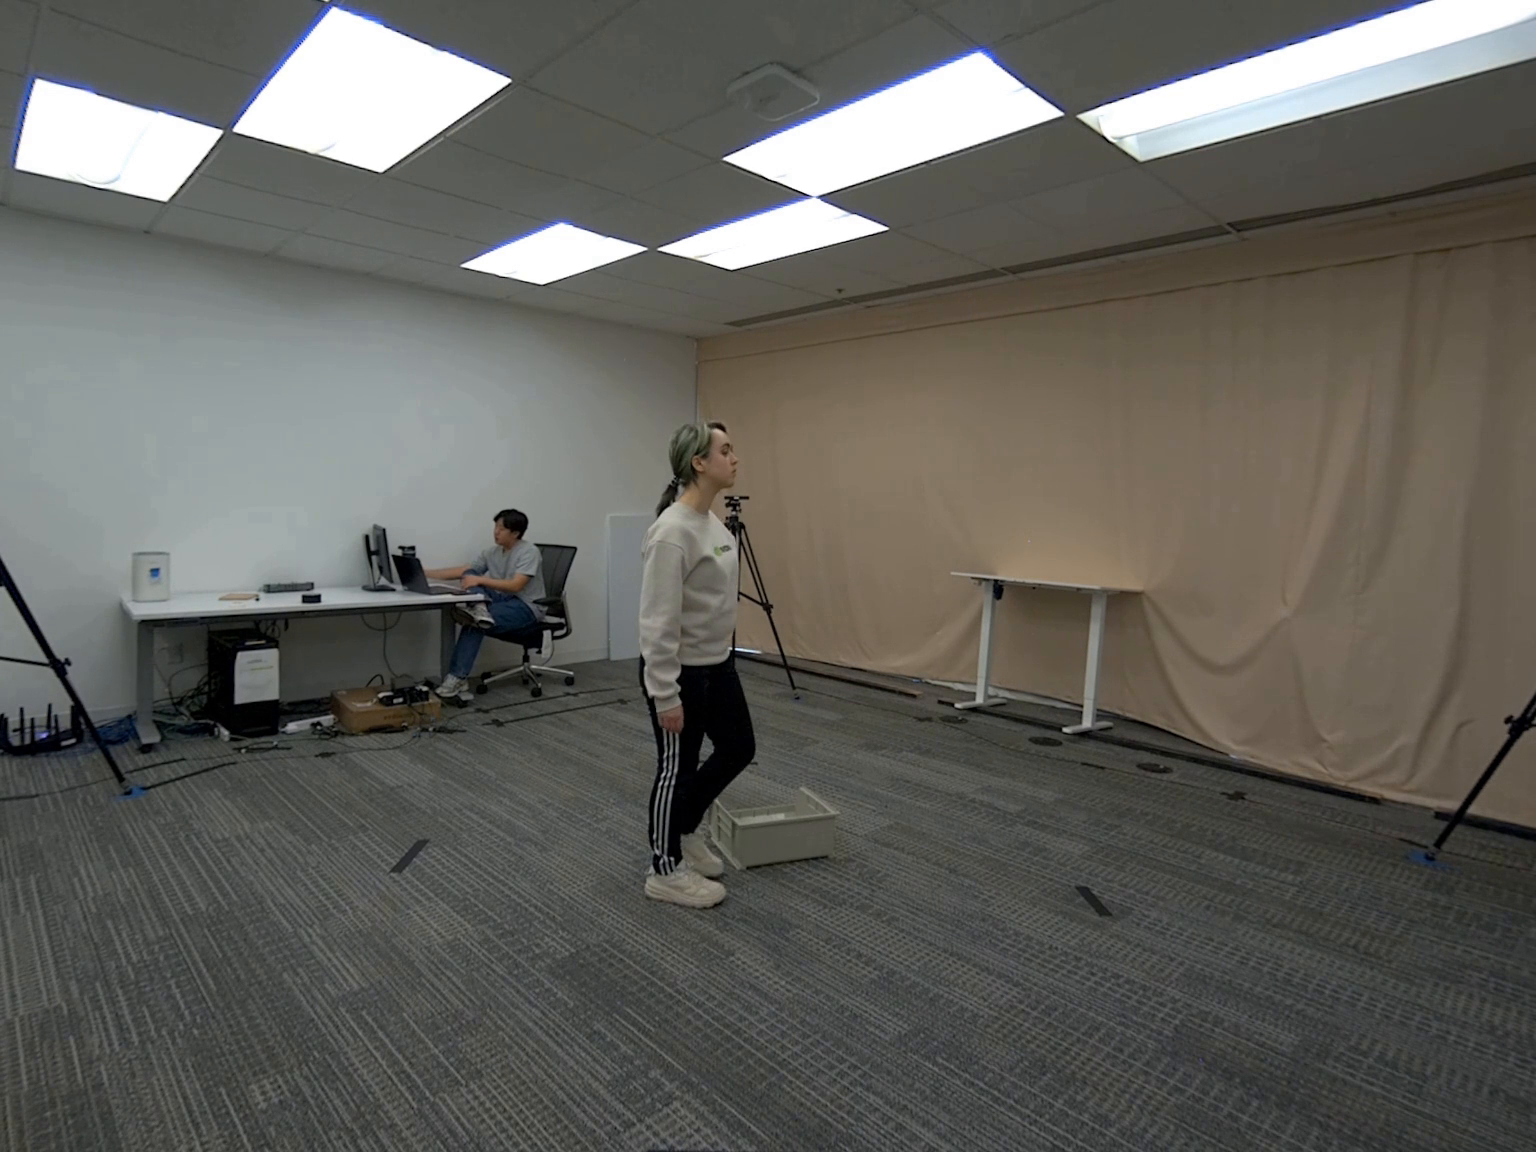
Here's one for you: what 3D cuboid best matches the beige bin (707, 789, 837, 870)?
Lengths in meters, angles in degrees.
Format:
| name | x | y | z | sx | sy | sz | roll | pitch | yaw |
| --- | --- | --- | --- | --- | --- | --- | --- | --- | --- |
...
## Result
| name | x | y | z | sx | sy | sz | roll | pitch | yaw |
| --- | --- | --- | --- | --- | --- | --- | --- | --- | --- |
| beige bin | 0.003 | 0.995 | 3.374 | 0.415 | 0.188 | 0.385 | 0 | 5 | -22 |
